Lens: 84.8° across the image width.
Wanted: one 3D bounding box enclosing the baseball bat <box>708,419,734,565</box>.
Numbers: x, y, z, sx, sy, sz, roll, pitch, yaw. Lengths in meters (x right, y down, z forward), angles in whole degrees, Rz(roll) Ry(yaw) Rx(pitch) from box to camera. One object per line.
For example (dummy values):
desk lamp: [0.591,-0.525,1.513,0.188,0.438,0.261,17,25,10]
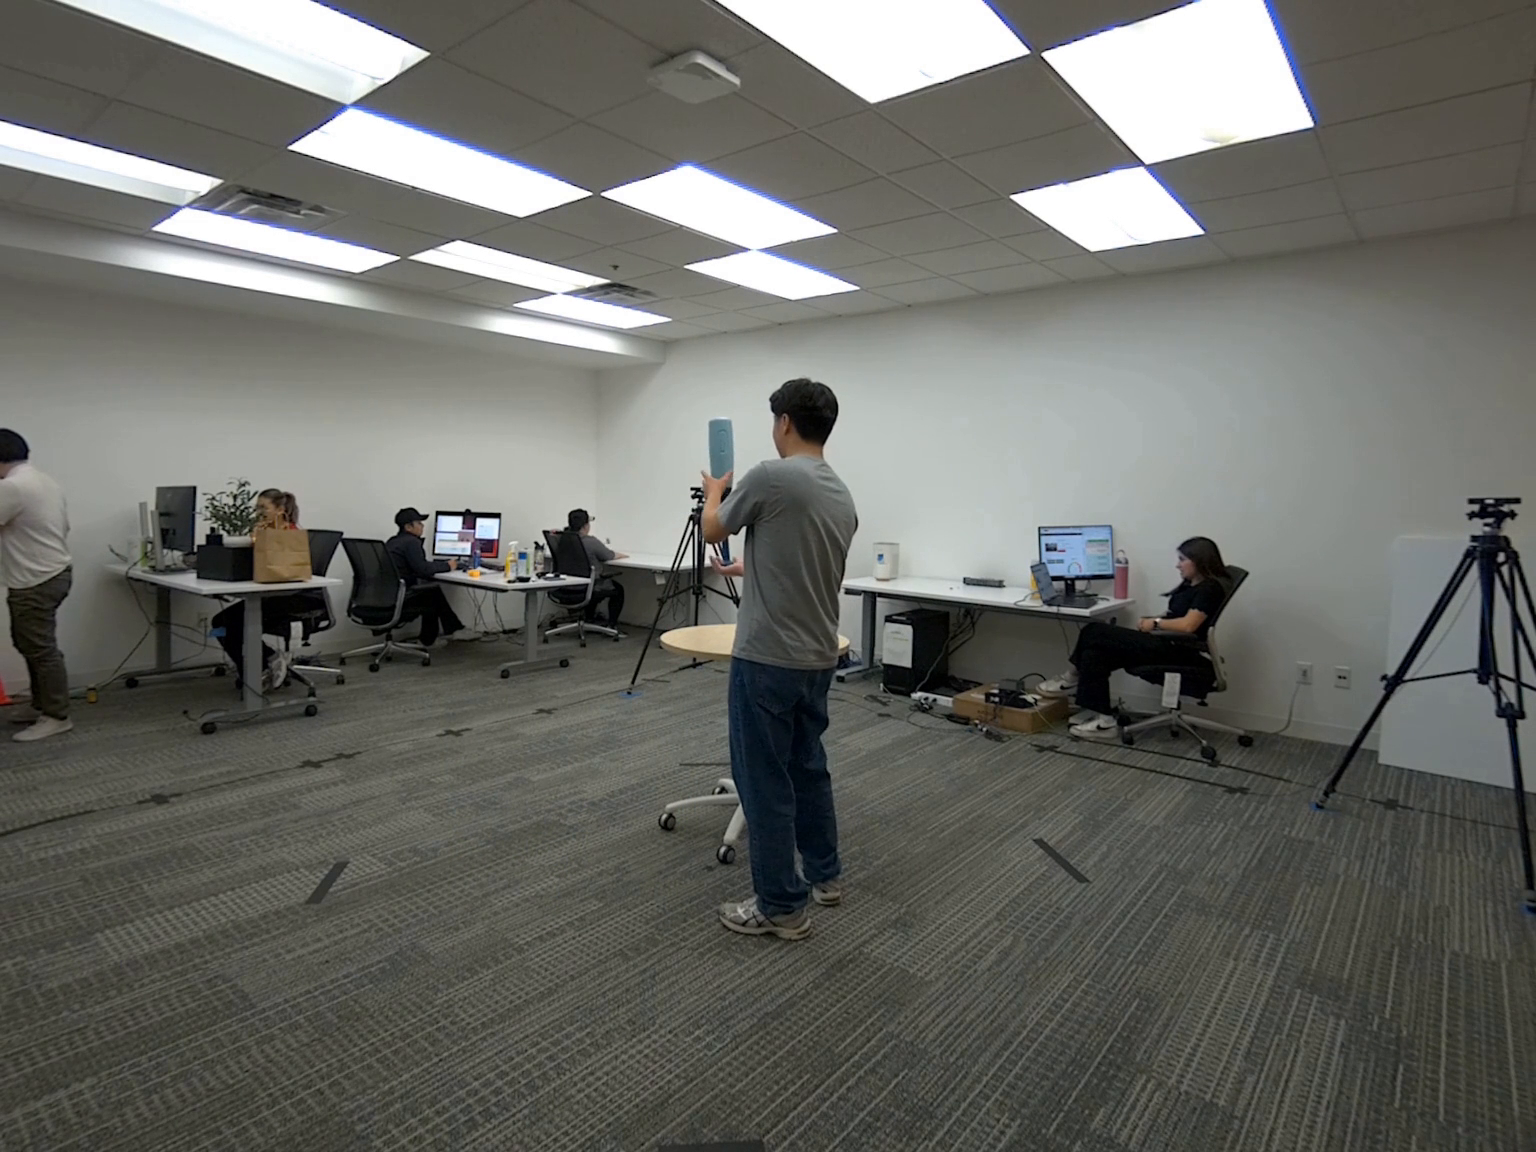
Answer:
baseball bat: [-0.177,-0.303,3.071,0.089,0.543,0.089,-2,0,-2]
